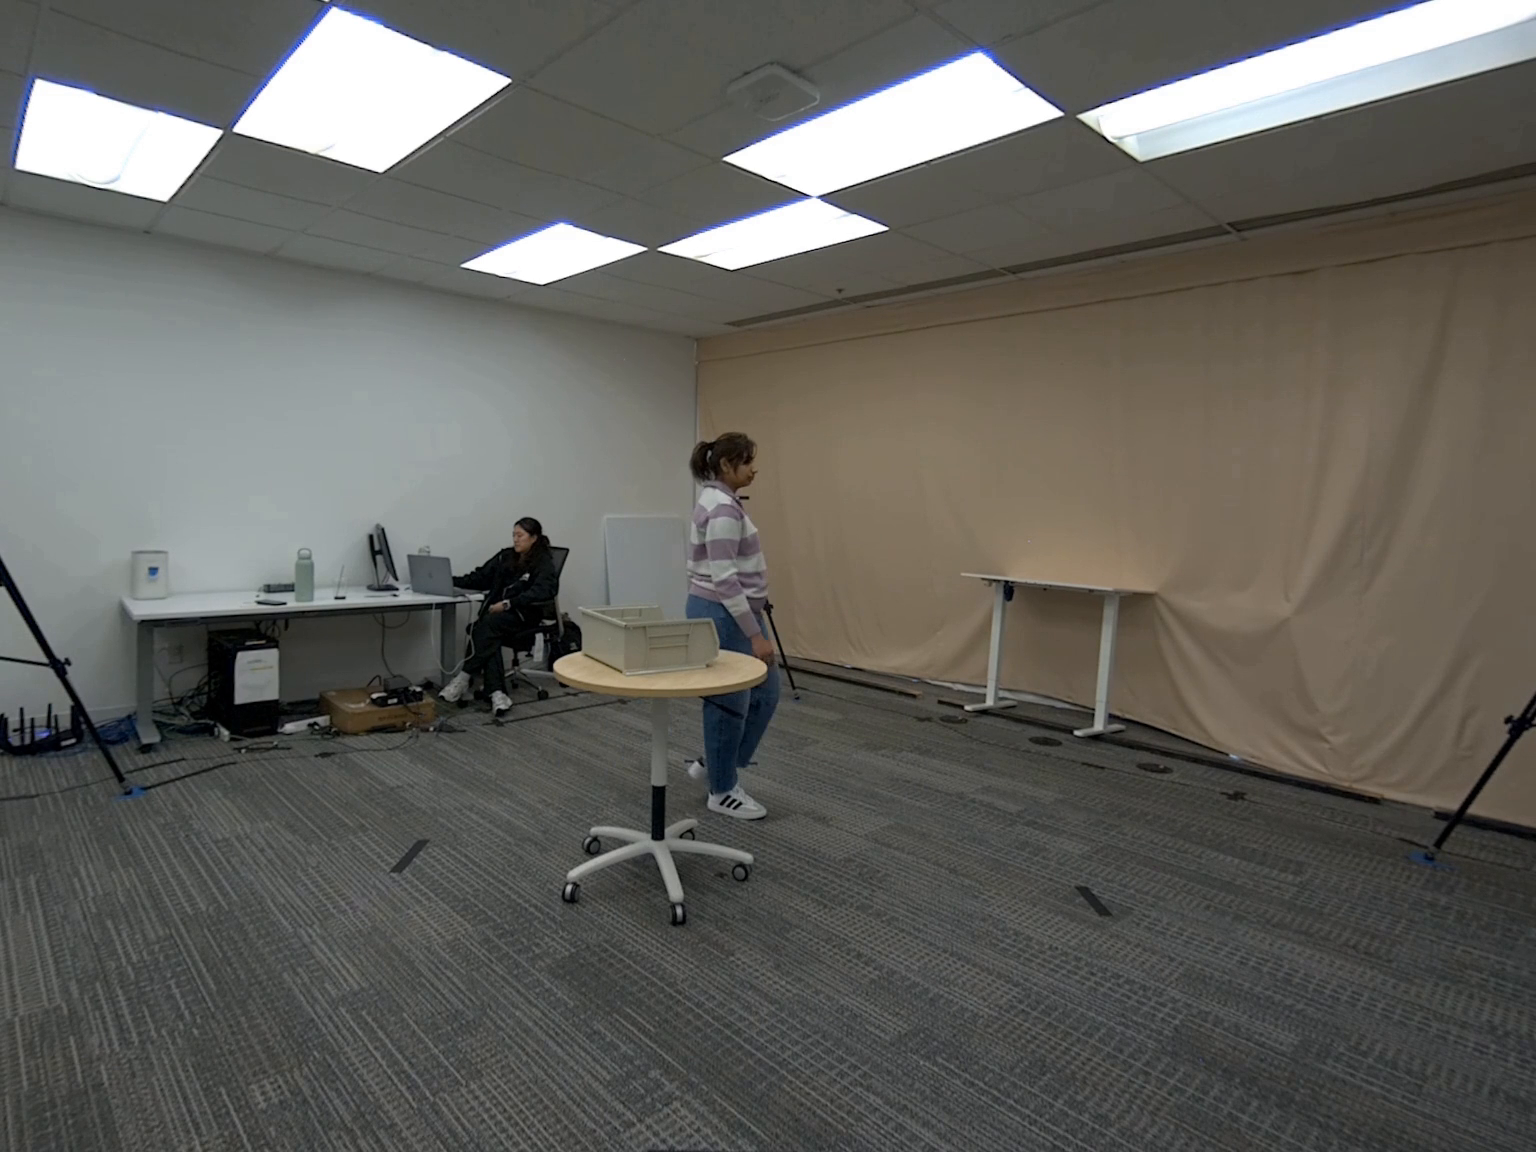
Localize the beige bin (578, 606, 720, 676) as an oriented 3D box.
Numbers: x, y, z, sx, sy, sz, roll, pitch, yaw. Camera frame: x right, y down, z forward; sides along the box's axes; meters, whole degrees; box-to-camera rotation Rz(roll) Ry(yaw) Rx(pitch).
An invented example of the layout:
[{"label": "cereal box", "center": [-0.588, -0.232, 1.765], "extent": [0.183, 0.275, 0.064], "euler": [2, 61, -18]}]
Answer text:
[{"label": "beige bin", "center": [-0.450, 0.224, 3.092], "extent": [0.369, 0.188, 0.433], "euler": [-3, 7, -33]}]
